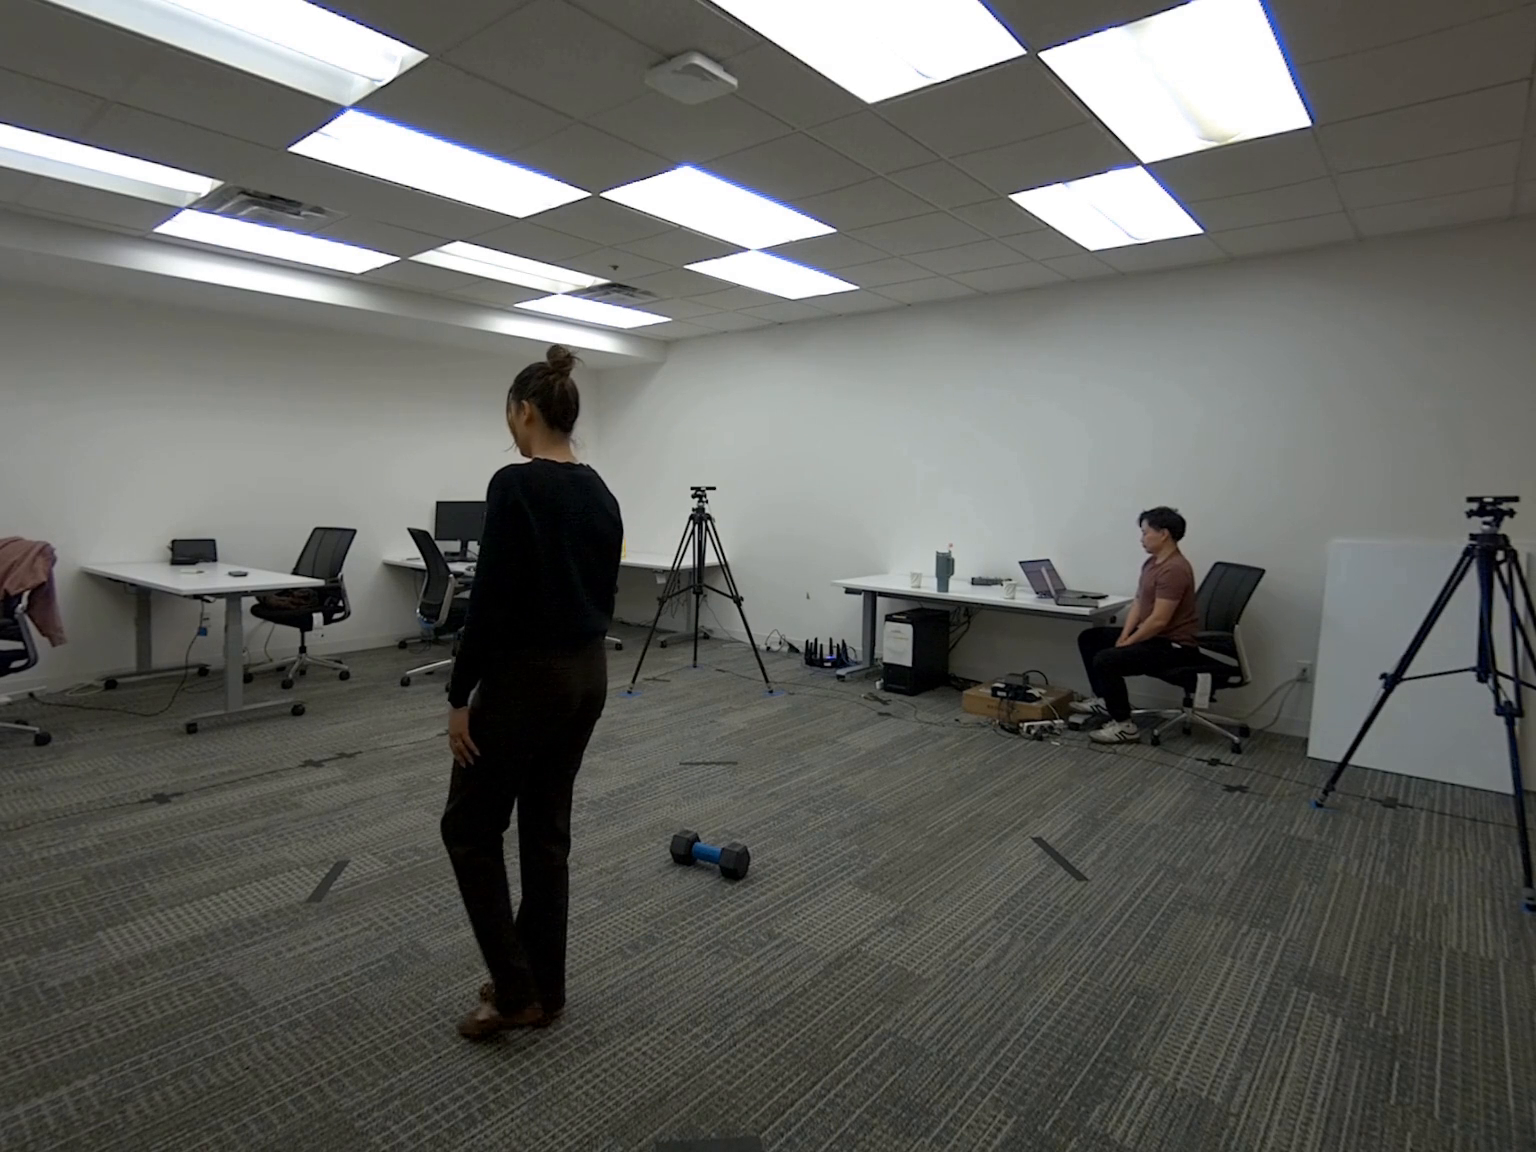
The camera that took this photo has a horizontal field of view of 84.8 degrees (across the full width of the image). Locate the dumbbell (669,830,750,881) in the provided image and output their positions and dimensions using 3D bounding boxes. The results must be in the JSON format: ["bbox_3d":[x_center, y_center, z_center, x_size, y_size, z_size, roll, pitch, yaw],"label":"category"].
[{"bbox_3d":[-0.222,1.009,3.109,0.302,0.124,0.104,4,-24,31],"label":"dumbbell"}]
